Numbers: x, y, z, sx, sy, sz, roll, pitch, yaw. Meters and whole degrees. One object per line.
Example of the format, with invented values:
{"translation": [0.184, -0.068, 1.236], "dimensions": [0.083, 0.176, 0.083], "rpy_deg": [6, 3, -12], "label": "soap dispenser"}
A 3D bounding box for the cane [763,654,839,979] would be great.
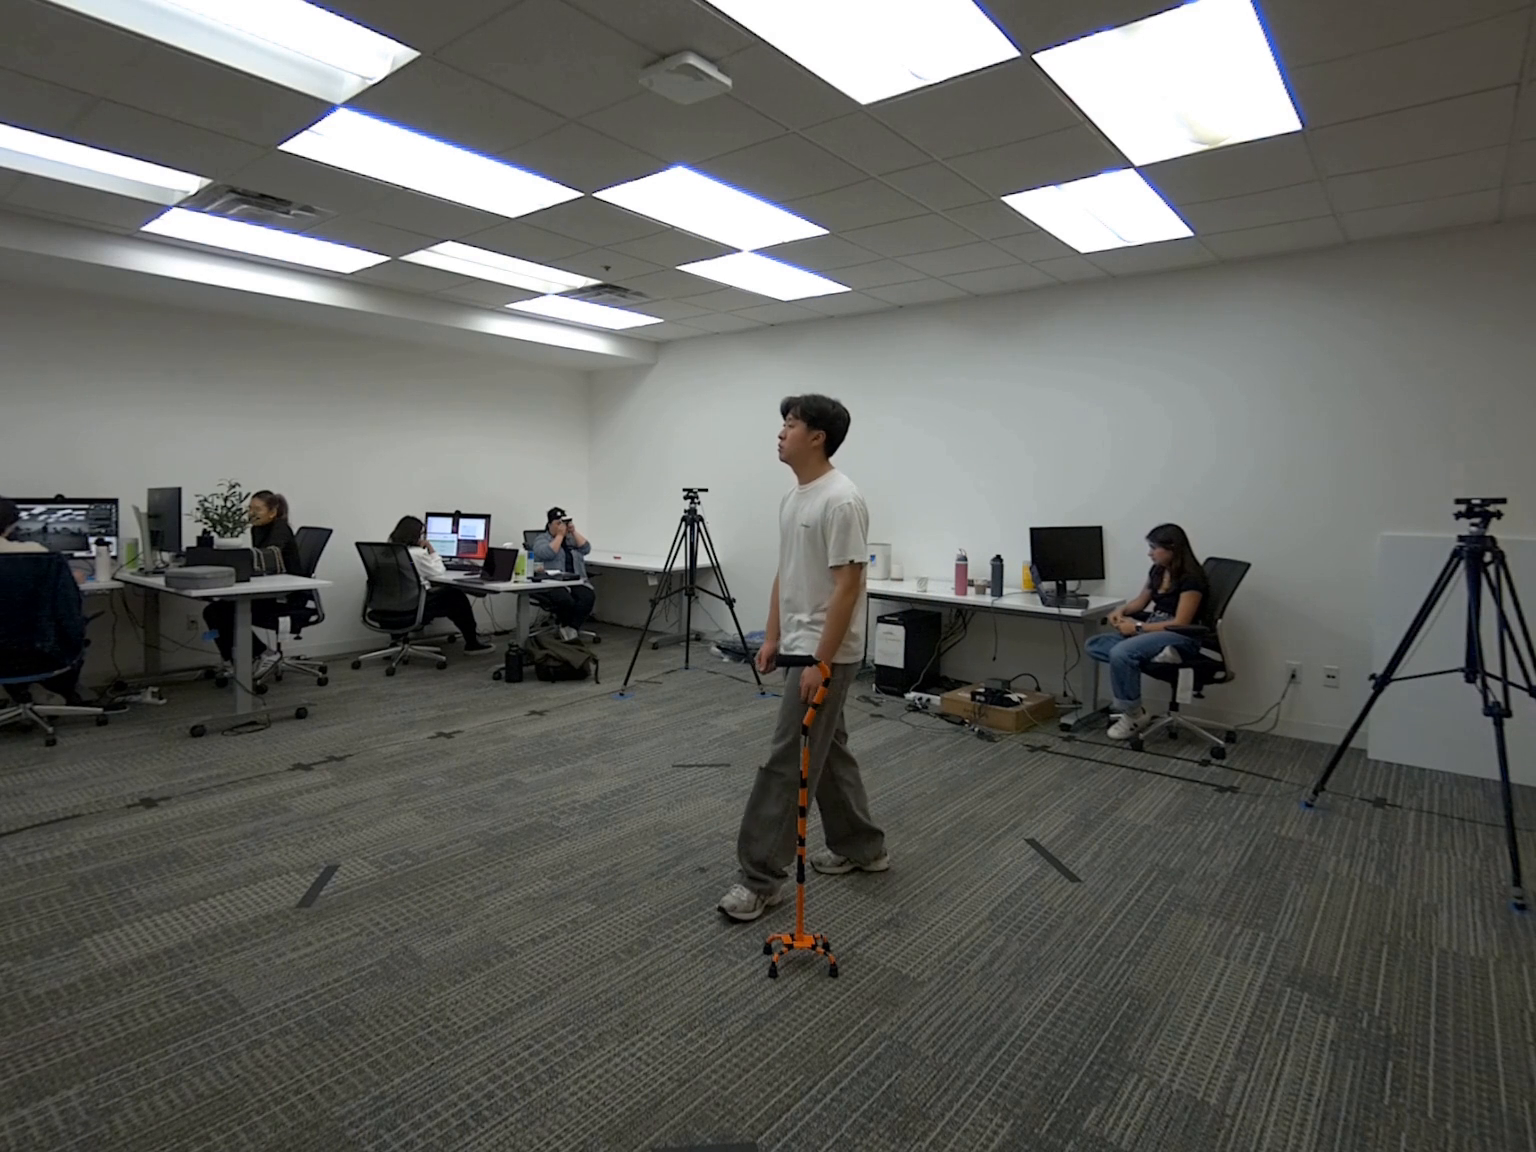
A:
{"translation": [0.108, 0.680, 2.479], "dimensions": [0.205, 0.906, 0.153], "rpy_deg": [0, 2, -5], "label": "cane"}
